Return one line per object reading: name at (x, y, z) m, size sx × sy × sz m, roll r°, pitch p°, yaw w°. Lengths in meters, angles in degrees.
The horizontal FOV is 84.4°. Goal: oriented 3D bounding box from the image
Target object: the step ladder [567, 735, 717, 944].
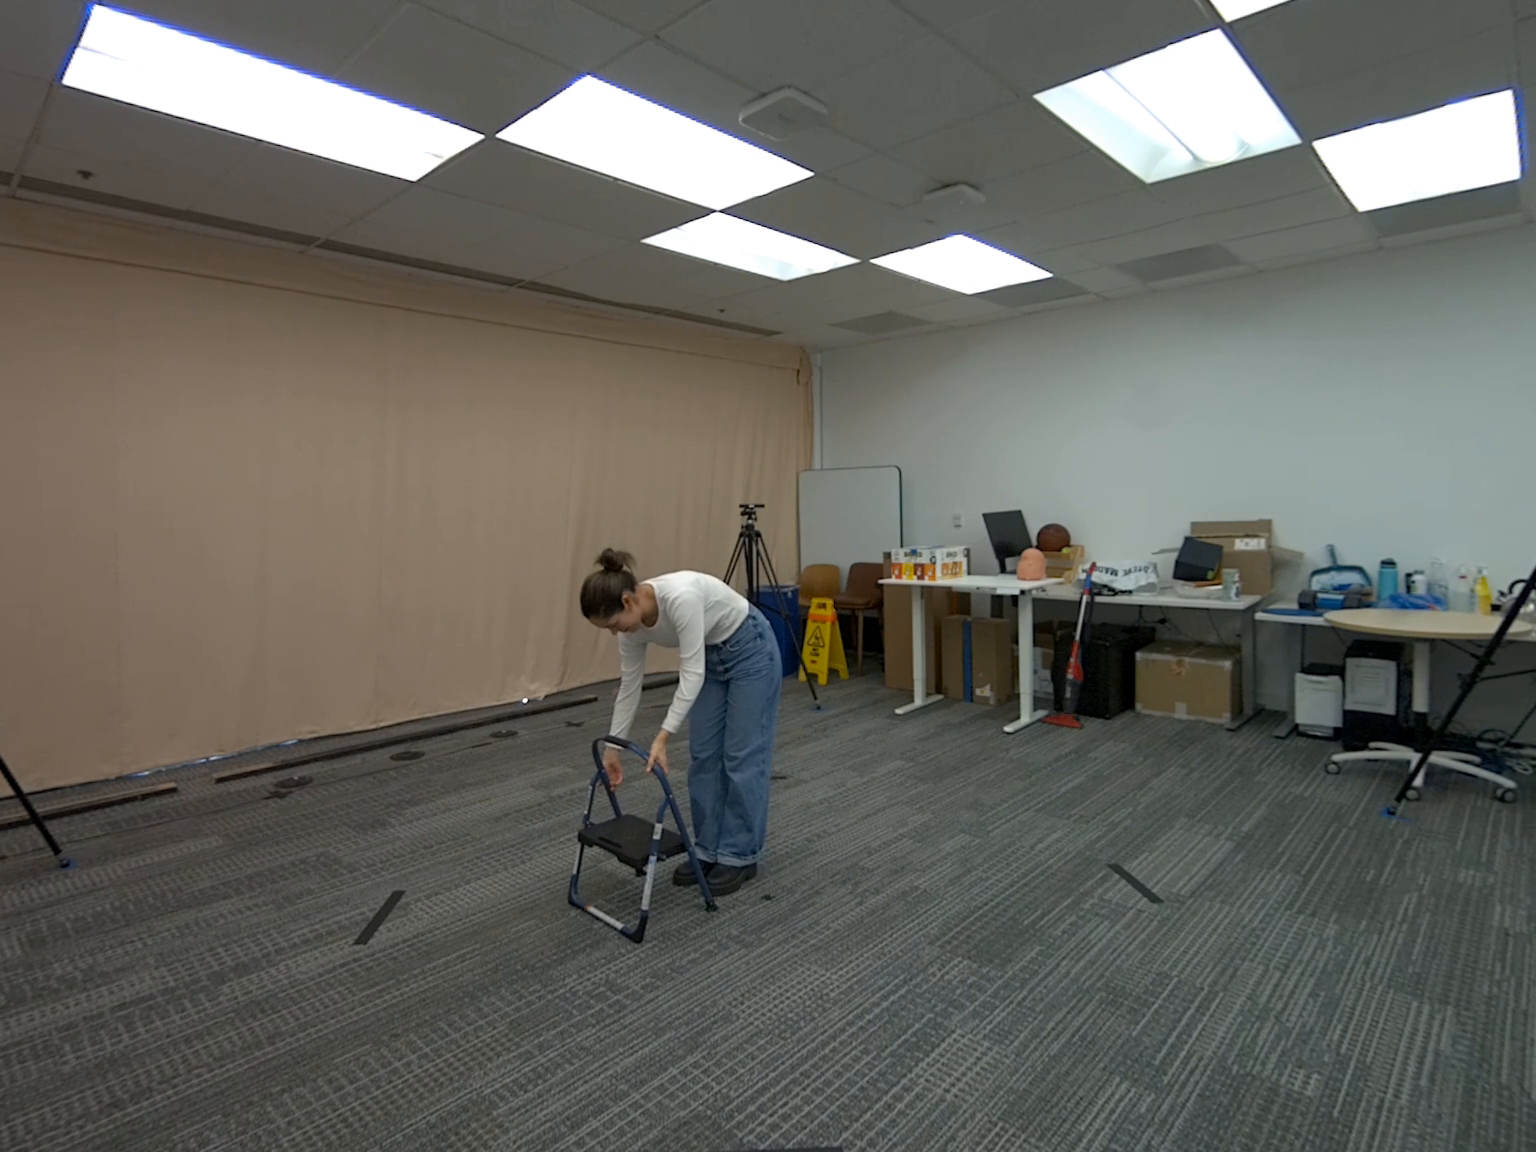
step ladder at (-0.448, 0.853, 2.924) m, size 0.445 × 0.605 × 0.338 m, roll 2°, pitch 4°, yaw 44°
